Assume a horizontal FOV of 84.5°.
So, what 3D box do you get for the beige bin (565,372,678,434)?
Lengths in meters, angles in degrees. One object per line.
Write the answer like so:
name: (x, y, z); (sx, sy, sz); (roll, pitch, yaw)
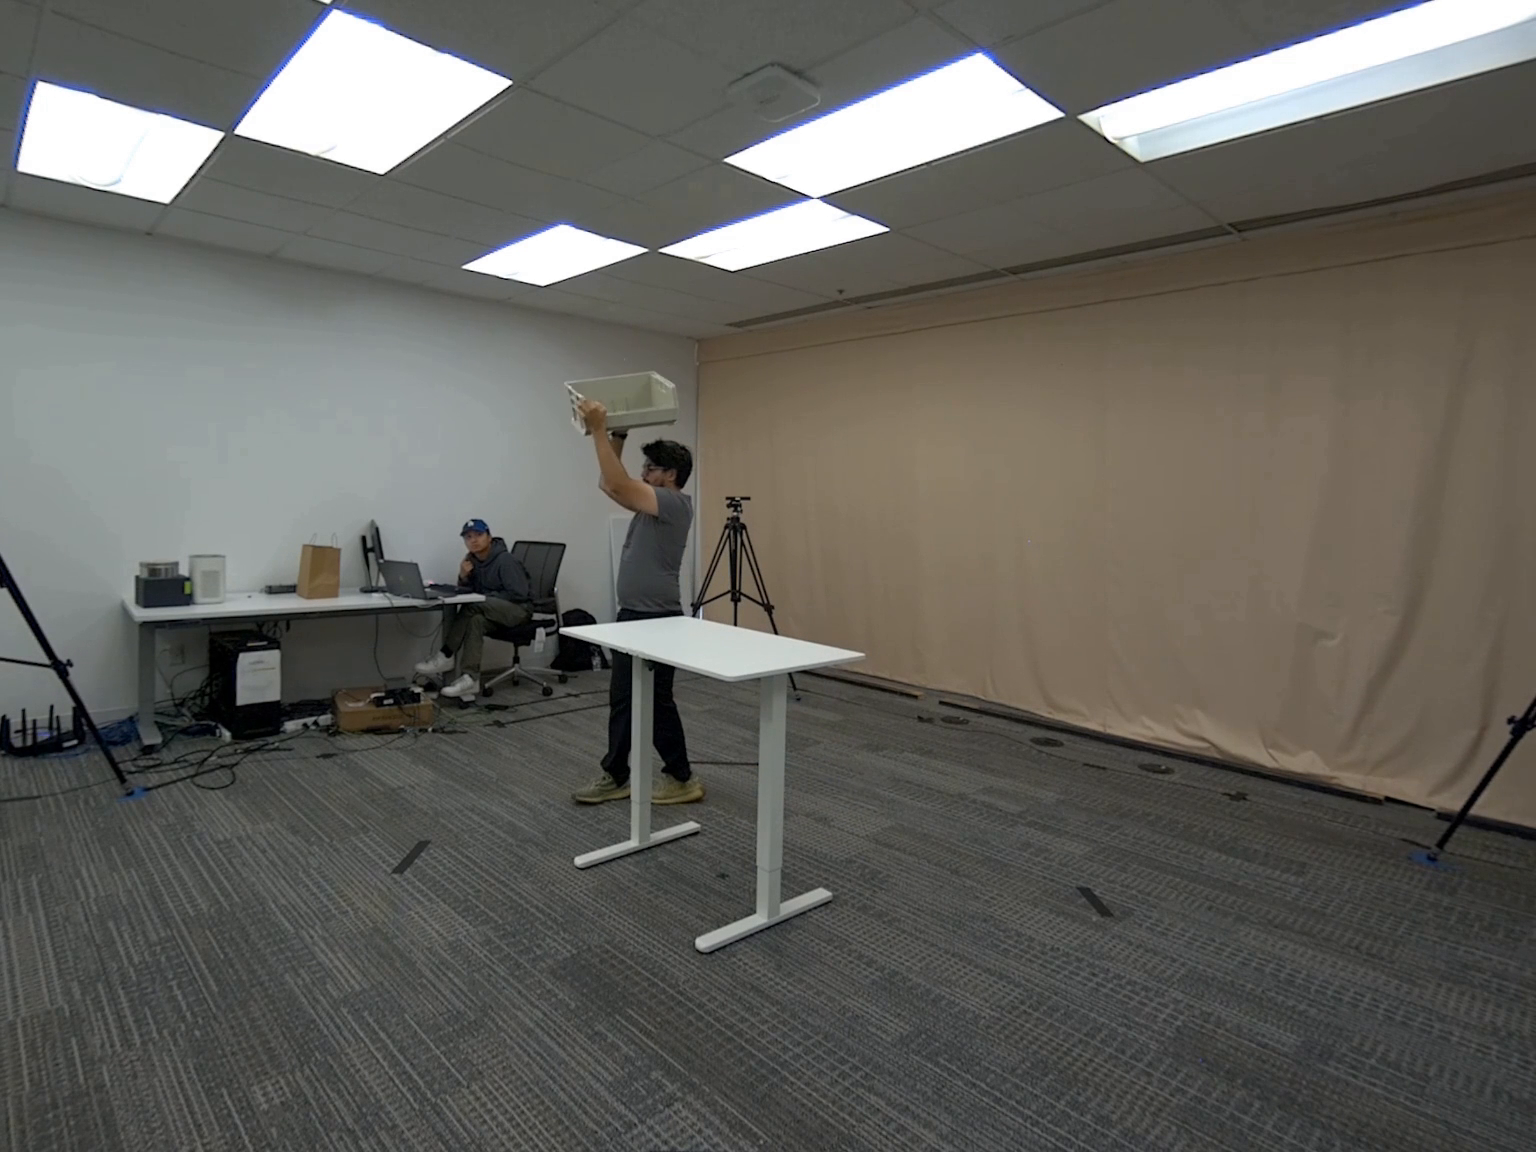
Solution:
beige bin: (-0.662, -0.768, 3.743); (0.418, 0.186, 0.388); (-13, 25, -19)
